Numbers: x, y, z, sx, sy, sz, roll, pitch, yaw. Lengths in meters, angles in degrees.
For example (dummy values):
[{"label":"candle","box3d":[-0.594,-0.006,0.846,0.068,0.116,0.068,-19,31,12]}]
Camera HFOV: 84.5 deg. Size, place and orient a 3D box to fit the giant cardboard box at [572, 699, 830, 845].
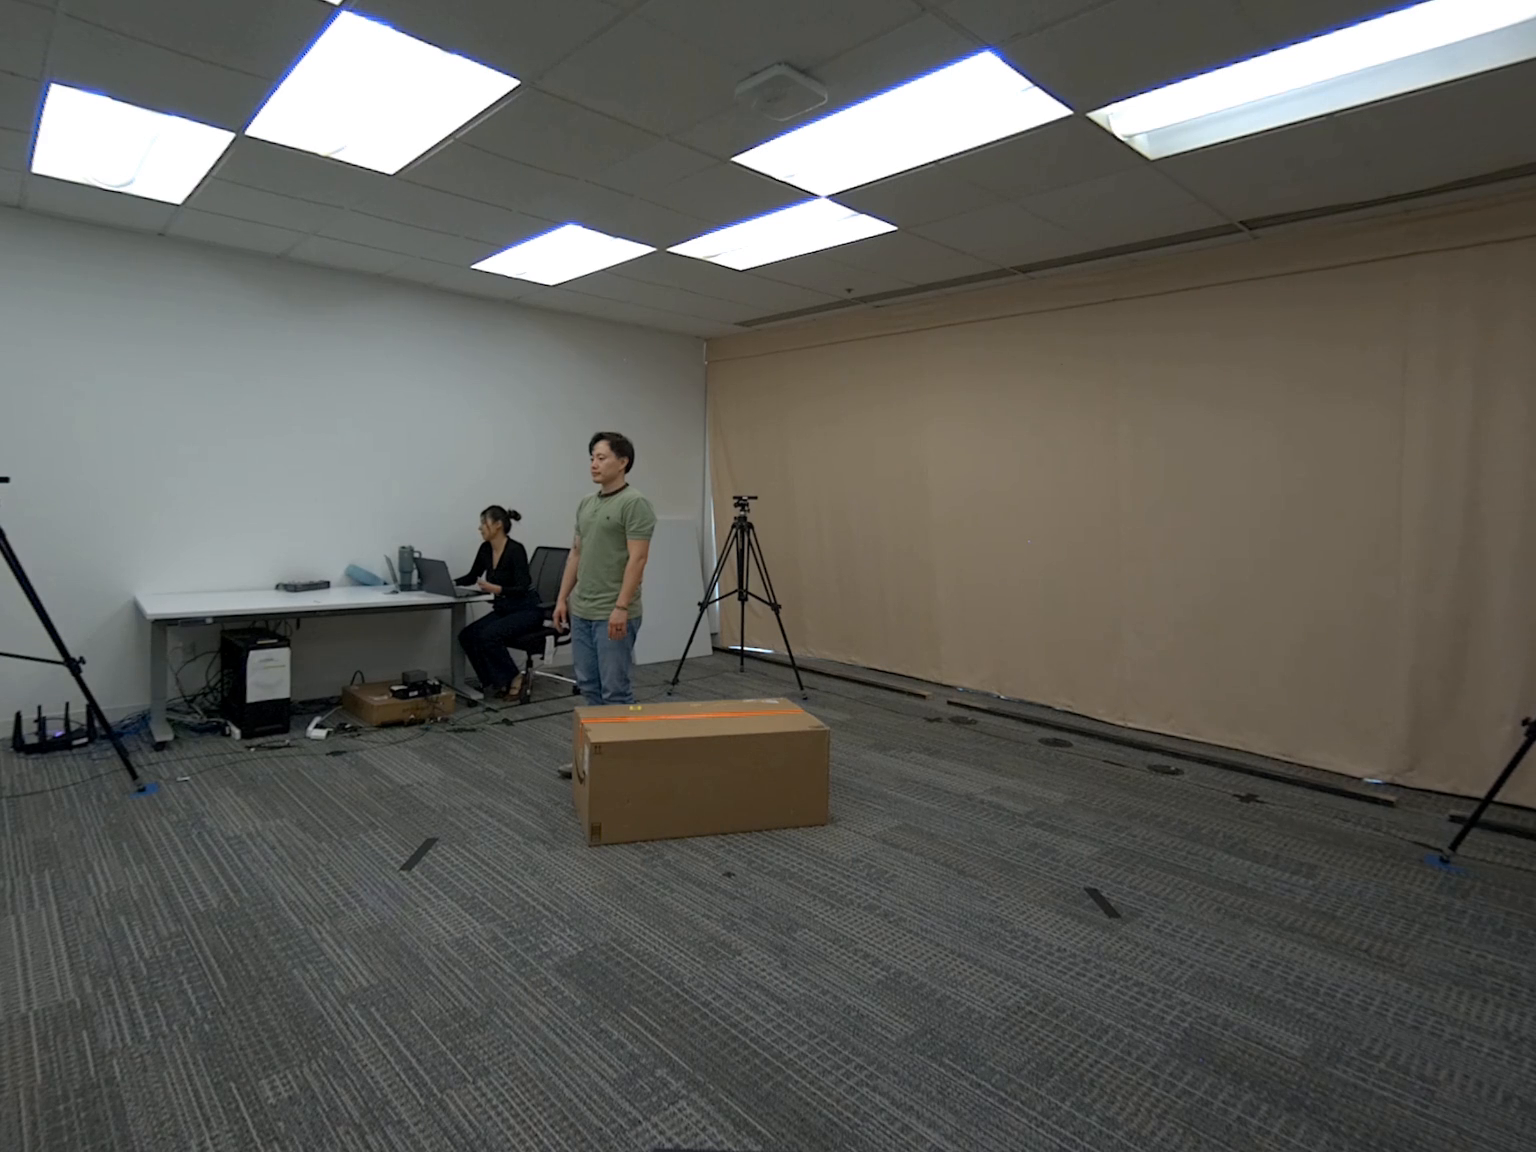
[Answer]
[{"label":"giant cardboard box","box3d":[-0.318,0.827,3.719,1.012,0.425,0.586,0,4,-18]}]
